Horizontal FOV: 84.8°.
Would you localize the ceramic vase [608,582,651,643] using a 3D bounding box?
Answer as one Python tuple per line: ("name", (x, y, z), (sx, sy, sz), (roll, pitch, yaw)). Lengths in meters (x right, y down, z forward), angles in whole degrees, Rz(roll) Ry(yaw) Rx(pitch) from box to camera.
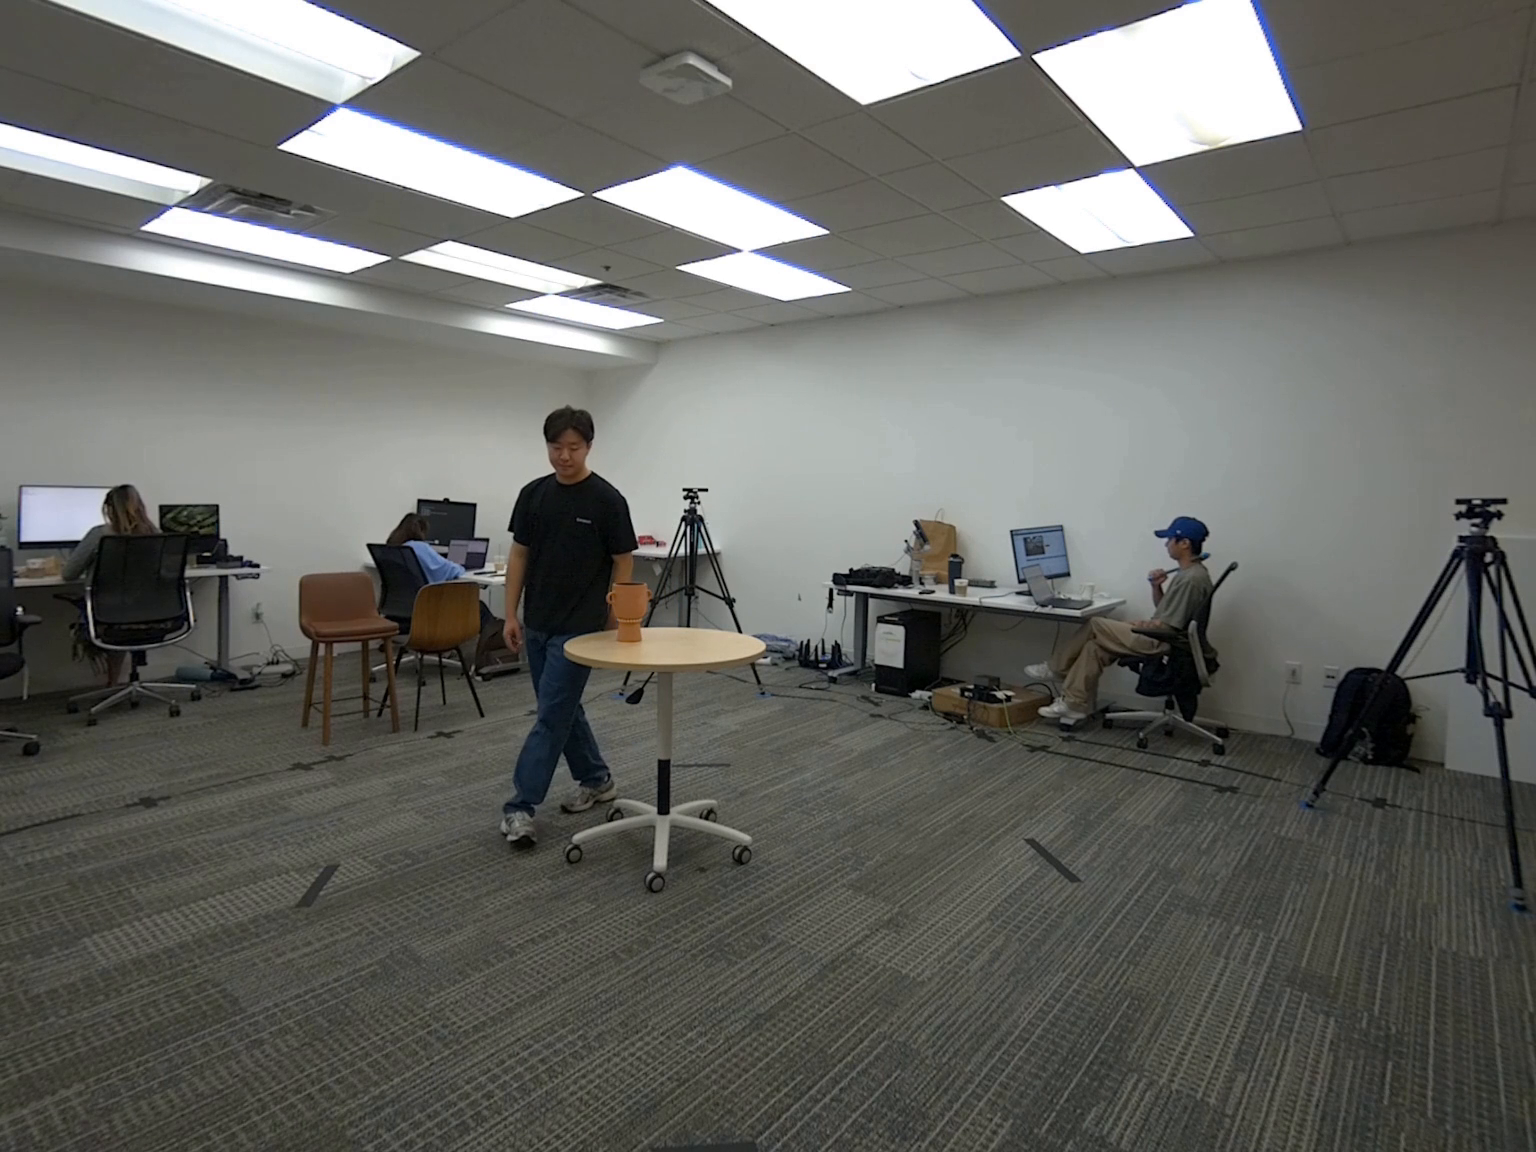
("ceramic vase", (-0.555, 0.140, 3.308), (0.159, 0.219, 0.134), (0, 3, 4))
